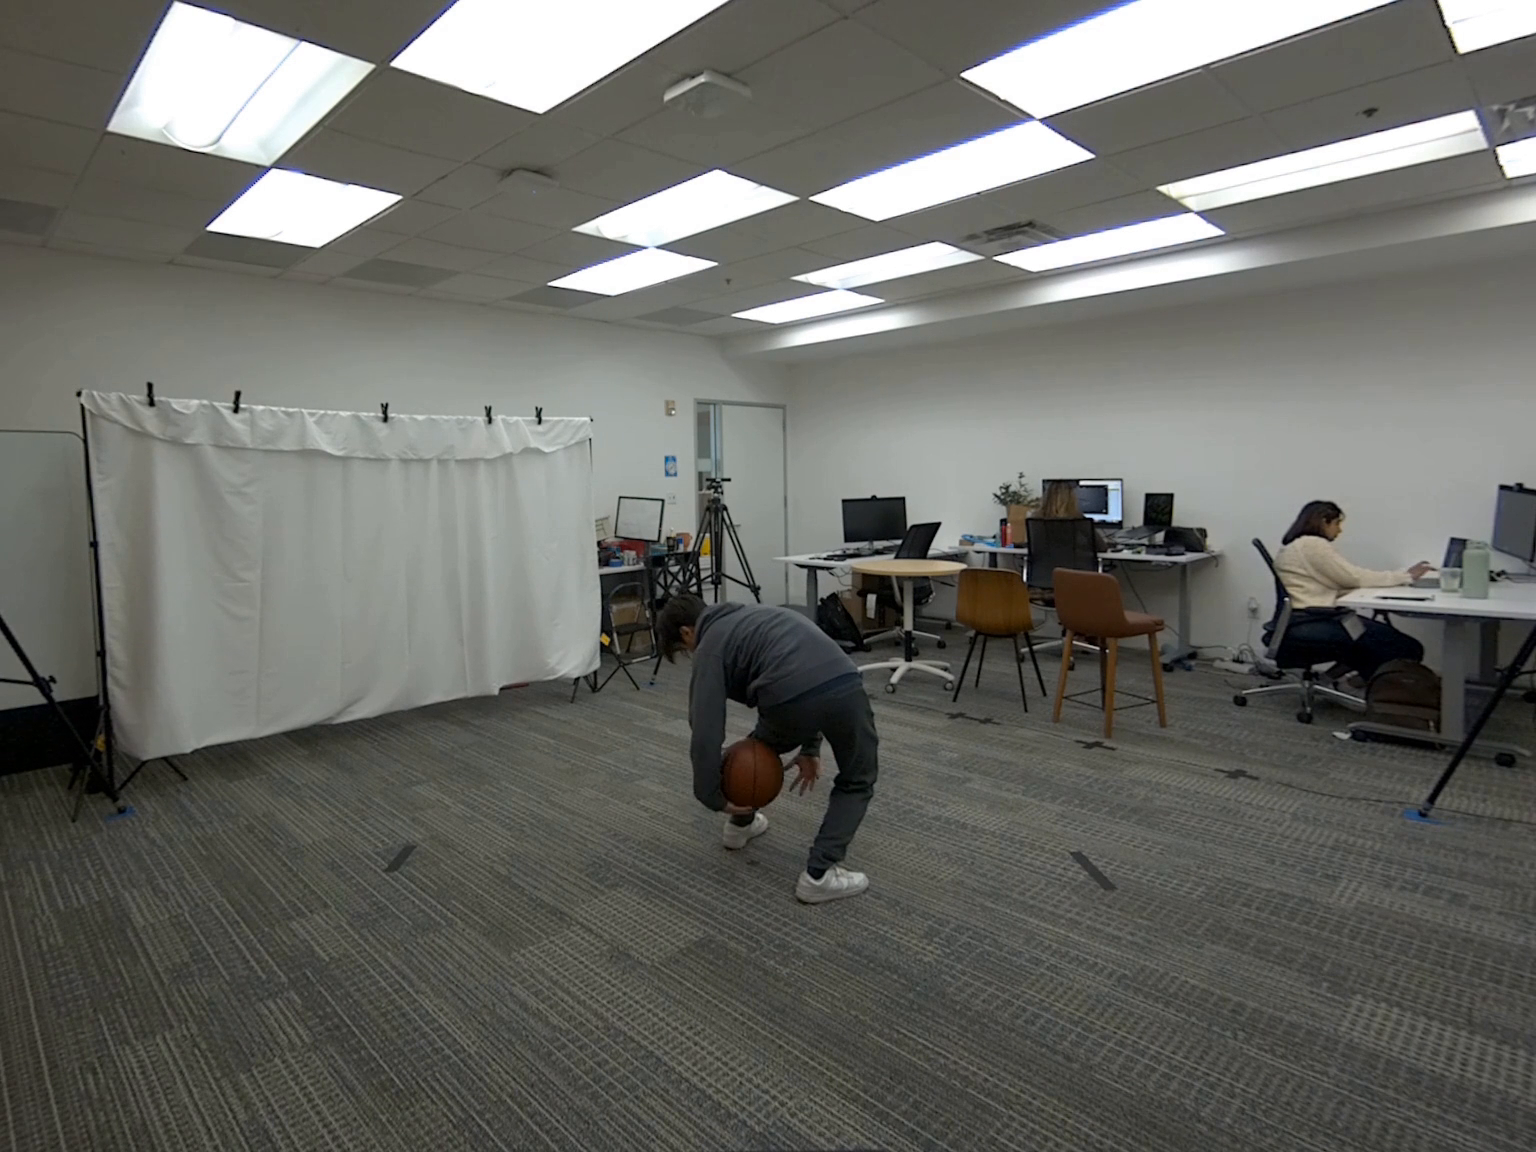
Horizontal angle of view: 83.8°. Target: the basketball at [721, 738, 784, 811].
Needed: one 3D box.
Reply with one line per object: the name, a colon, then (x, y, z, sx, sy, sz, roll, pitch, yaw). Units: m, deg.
basketball: (-0.051, 0.695, 3.009, 0.236, 0.235, 0.237, -1, 5, -2)
